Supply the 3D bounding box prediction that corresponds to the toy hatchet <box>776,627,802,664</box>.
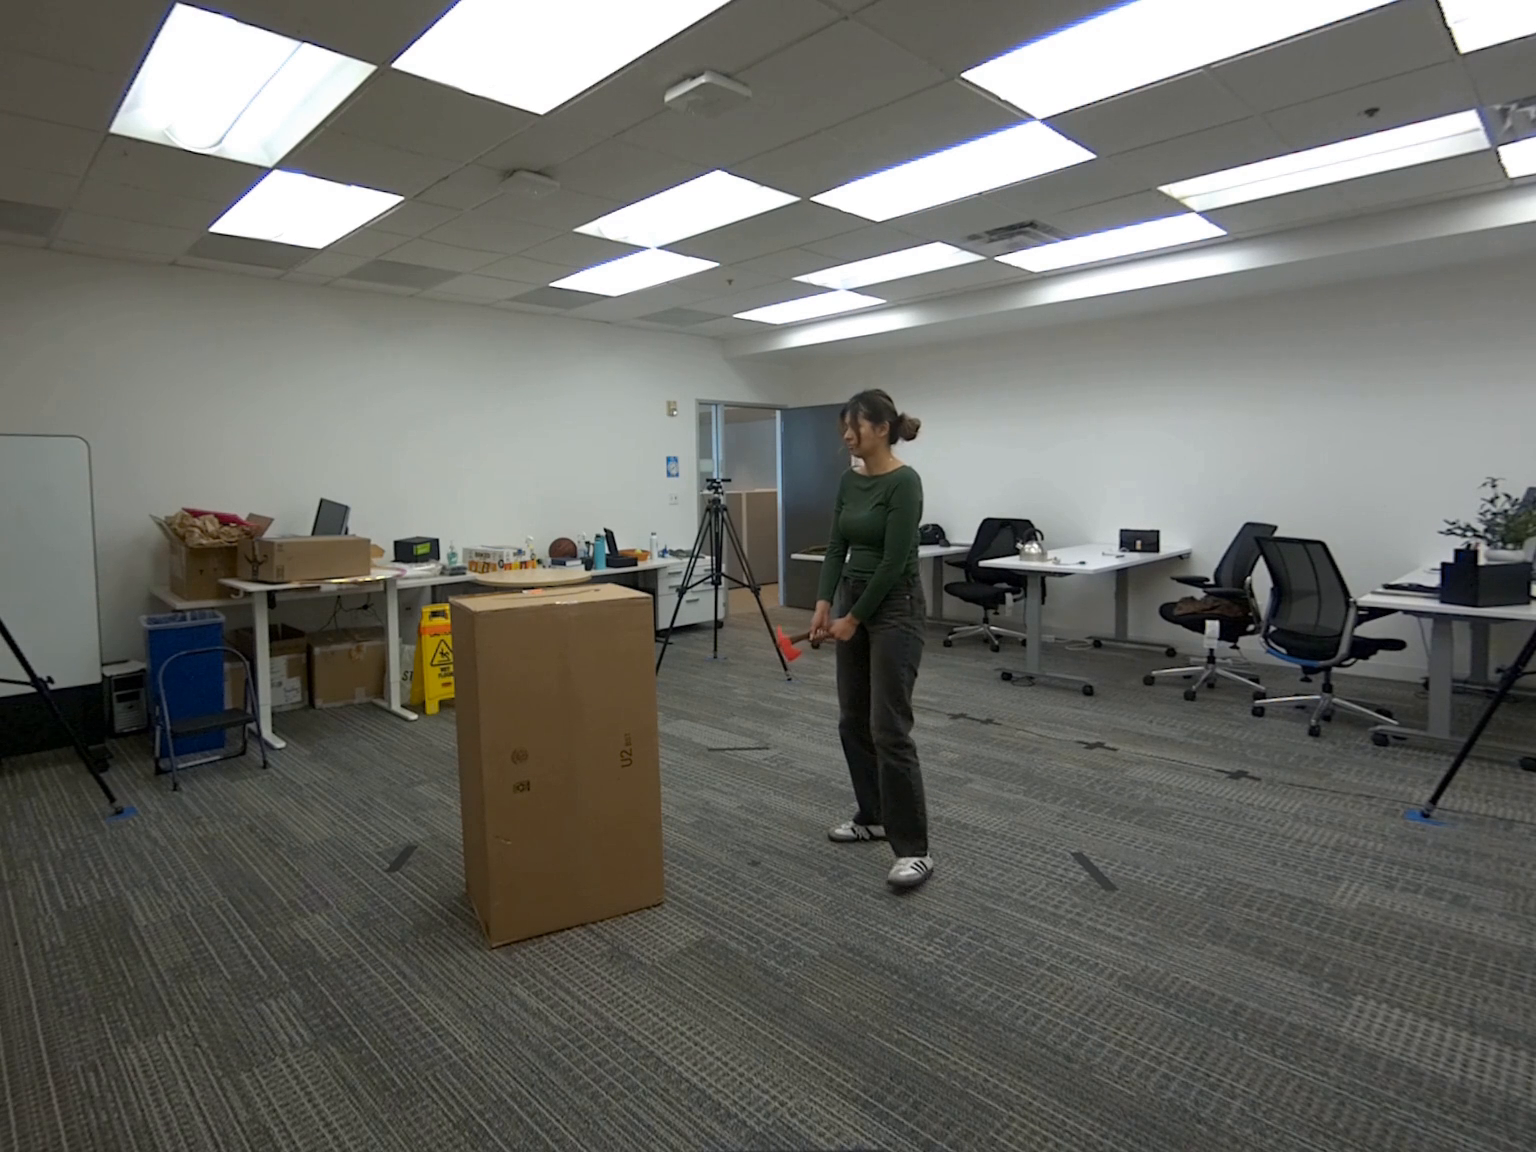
[{"bbox_3d":[0.175,0.253,3.111,0.271,0.132,0.029,3,-11,3],"label":"toy hatchet"}]
